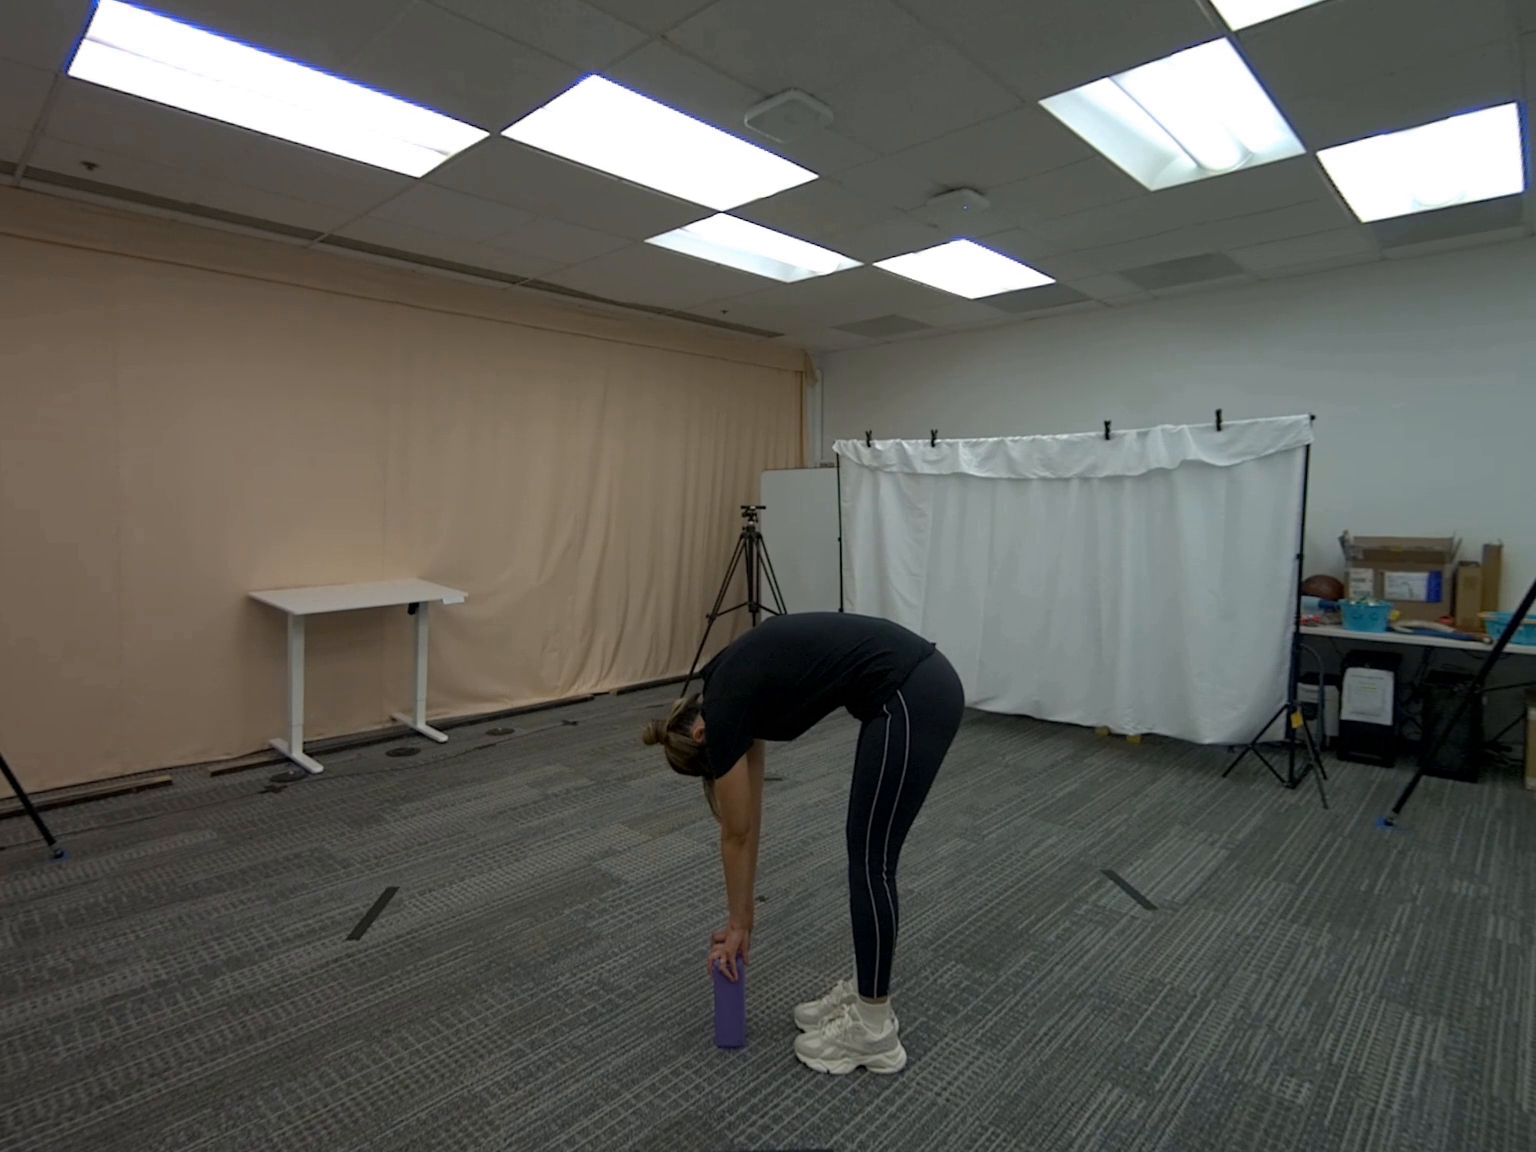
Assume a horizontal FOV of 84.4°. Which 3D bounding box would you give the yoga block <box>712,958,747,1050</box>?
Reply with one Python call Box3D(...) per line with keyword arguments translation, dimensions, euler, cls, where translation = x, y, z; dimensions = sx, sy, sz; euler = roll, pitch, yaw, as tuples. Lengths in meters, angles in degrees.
Box3D(translation=(-0.099, 1.102, 2.222), dimensions=(0.076, 0.229, 0.149), euler=(1, 2, 1), cls="yoga block")
